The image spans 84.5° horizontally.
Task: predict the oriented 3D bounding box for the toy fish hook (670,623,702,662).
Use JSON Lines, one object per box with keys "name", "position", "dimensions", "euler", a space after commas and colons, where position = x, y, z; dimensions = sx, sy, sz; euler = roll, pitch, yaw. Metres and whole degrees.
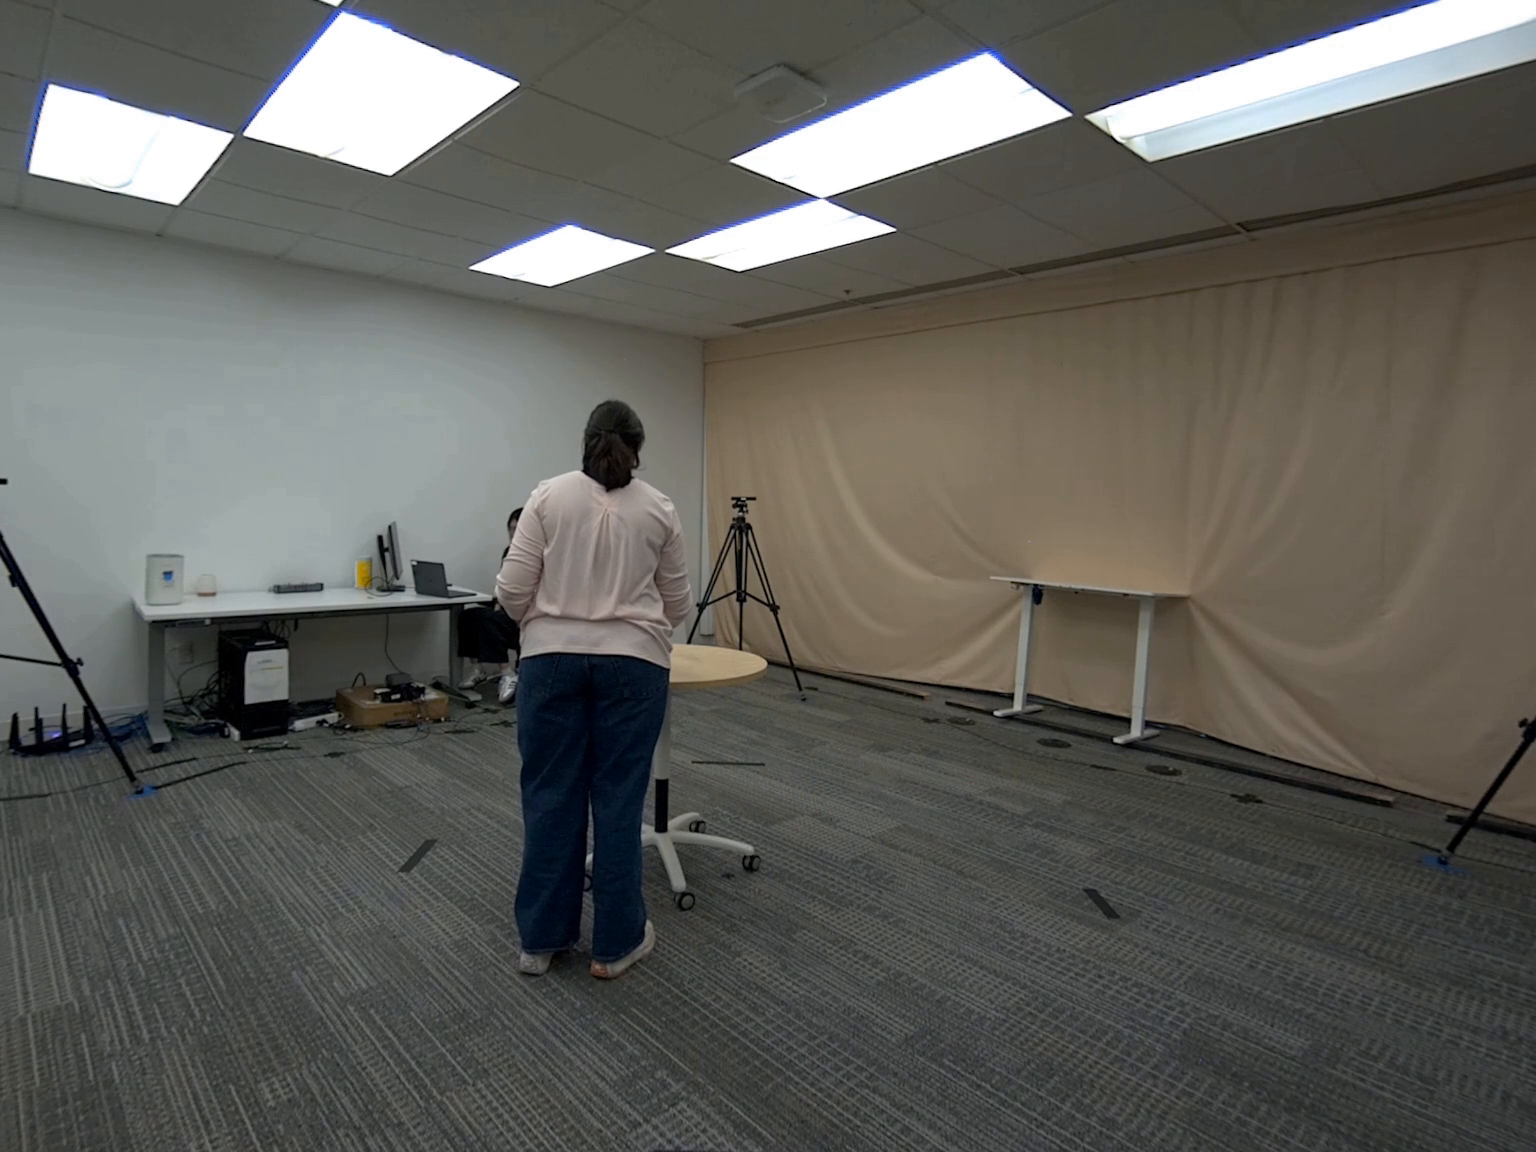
{"name": "toy fish hook", "position": [-0.412, 0.184, 3.024], "dimensions": [0.221, 0.048, 0.518], "euler": [8, 11, -20]}
